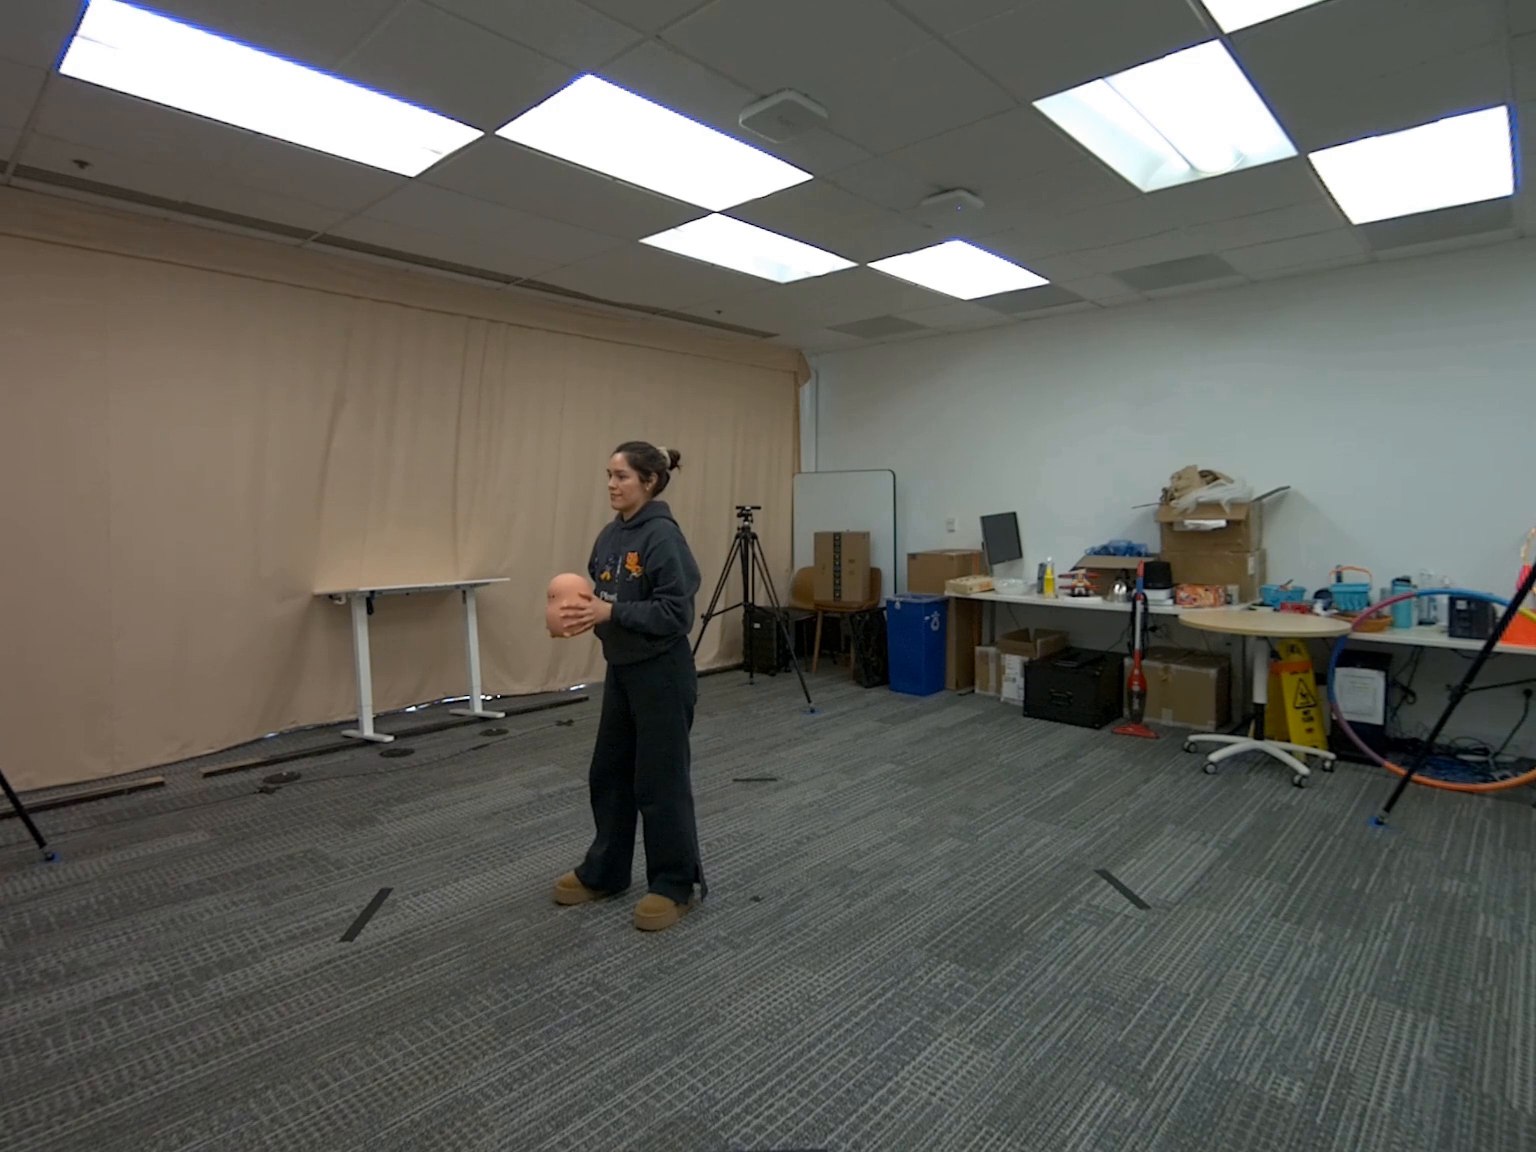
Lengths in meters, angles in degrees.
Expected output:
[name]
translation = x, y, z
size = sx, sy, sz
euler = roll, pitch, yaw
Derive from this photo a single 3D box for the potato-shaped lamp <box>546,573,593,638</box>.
[potato-shaped lamp]
translation = -0.634, 0.094, 2.735
size = 0.167, 0.197, 0.169
euler = -20, 7, -36
